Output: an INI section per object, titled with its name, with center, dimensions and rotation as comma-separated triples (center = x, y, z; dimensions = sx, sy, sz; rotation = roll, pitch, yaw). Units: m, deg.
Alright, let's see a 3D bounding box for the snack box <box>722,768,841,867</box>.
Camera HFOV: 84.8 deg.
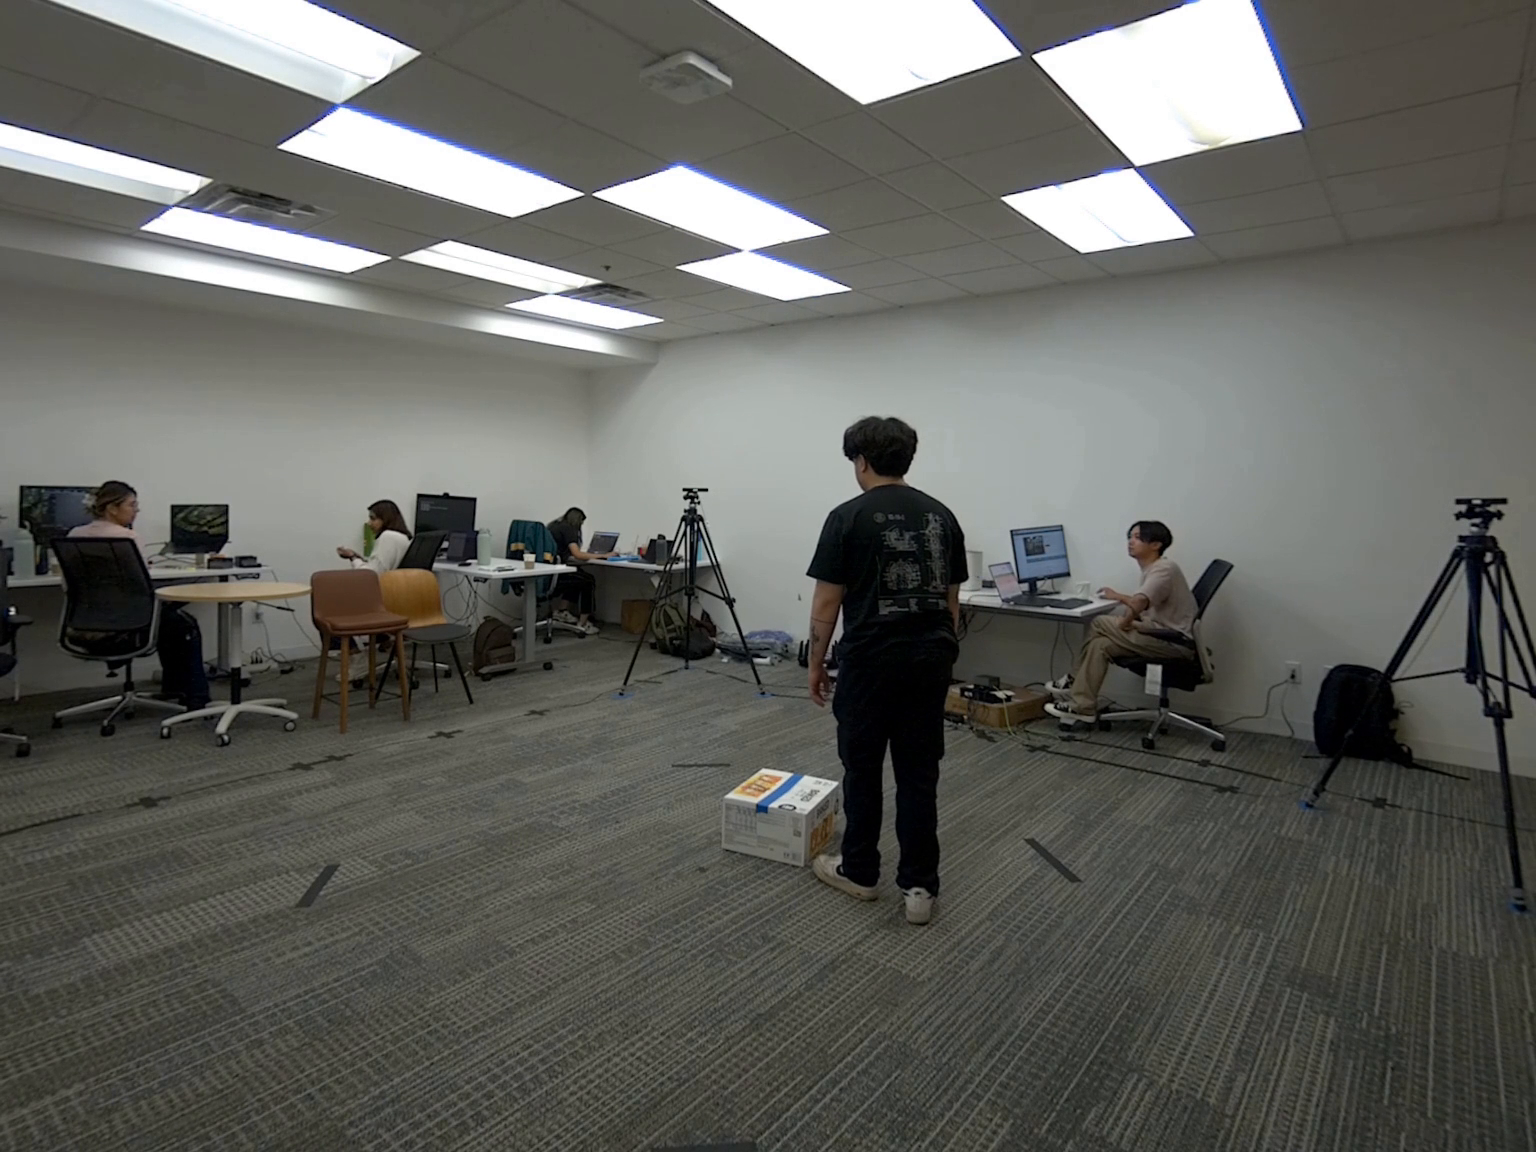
[snack box]
center = 0.048, 0.944, 3.381
dimensions = 0.349, 0.205, 0.396
rotation = 4, 5, 24
